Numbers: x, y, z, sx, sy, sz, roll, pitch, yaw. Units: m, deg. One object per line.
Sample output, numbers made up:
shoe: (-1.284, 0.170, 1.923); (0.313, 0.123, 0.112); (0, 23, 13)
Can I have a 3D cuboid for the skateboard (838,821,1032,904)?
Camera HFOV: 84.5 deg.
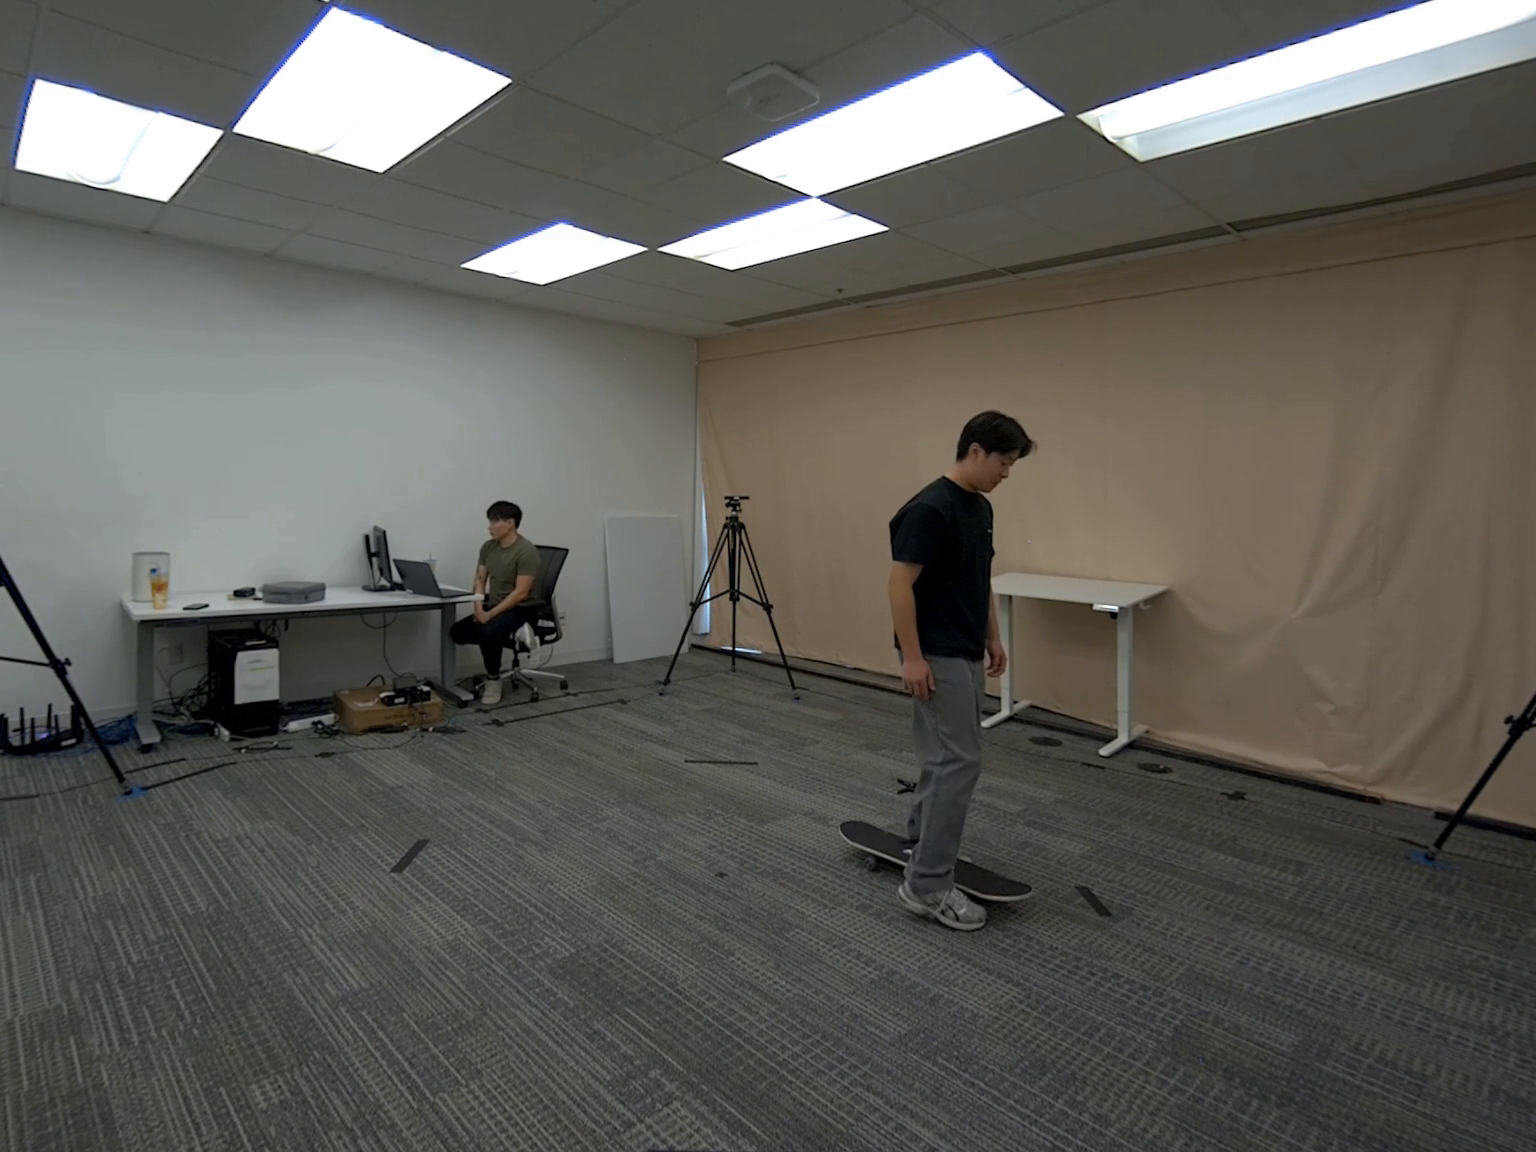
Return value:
skateboard: (0.578, 1.072, 3.075); (0.189, 0.110, 0.806); (-2, 6, -44)
